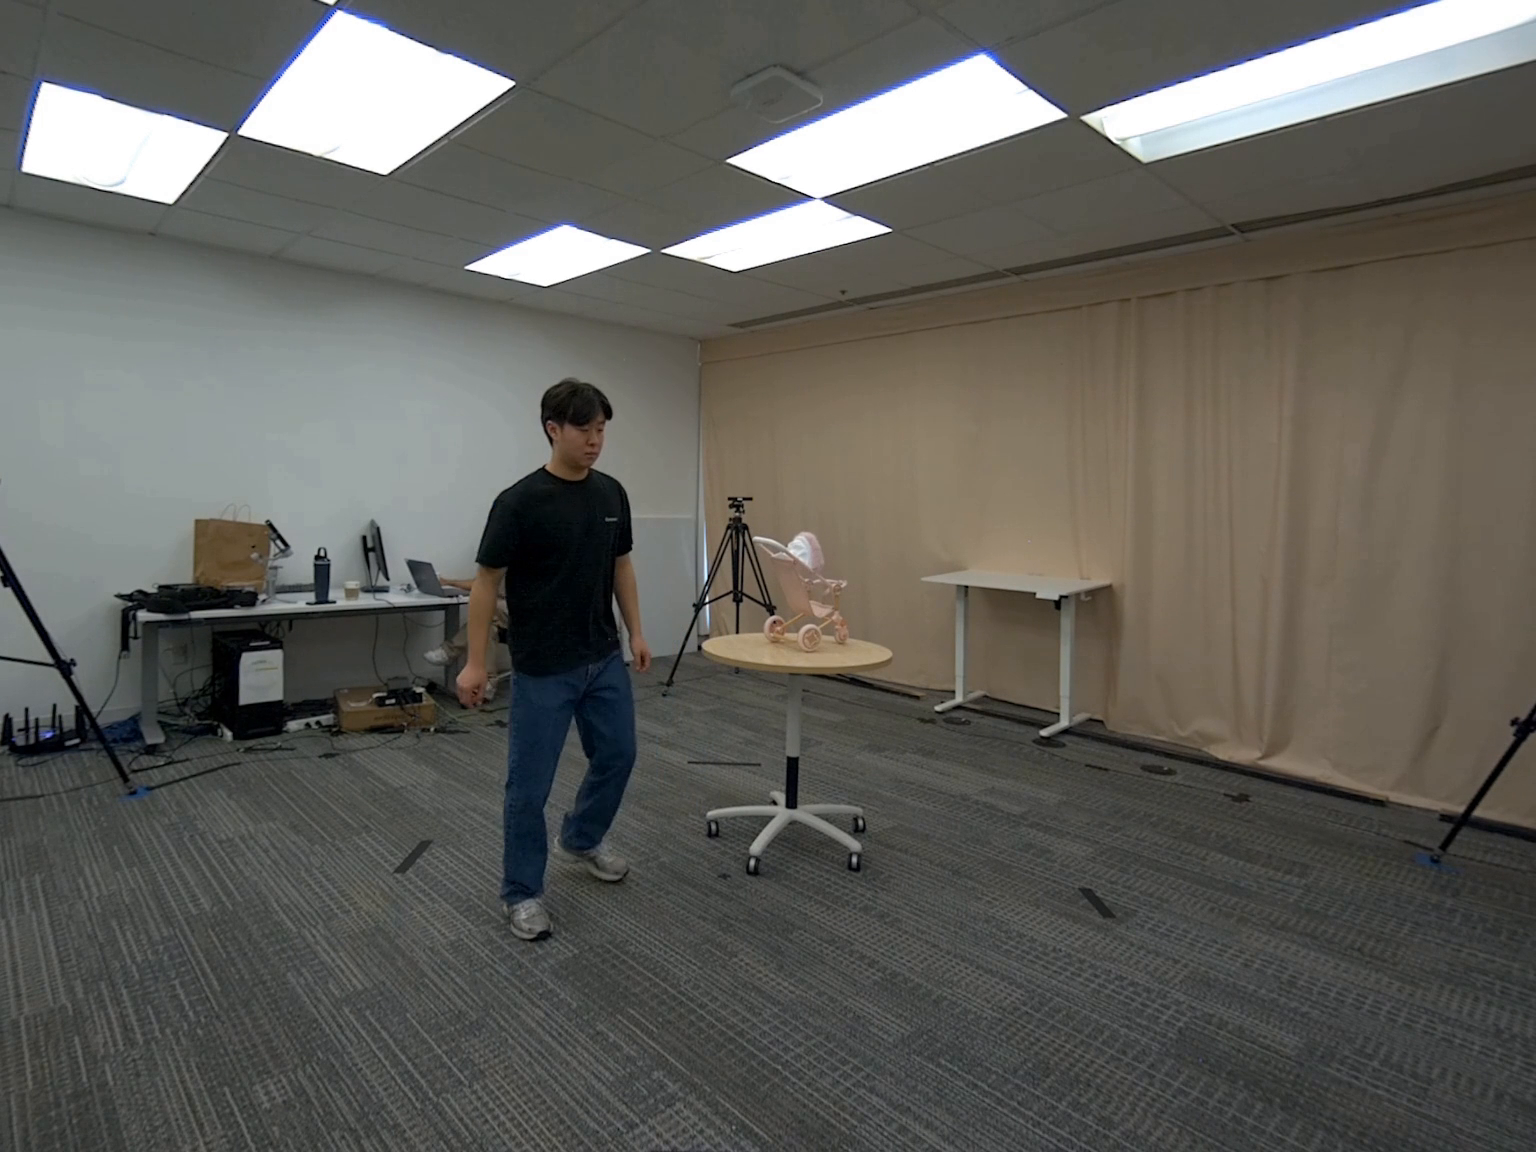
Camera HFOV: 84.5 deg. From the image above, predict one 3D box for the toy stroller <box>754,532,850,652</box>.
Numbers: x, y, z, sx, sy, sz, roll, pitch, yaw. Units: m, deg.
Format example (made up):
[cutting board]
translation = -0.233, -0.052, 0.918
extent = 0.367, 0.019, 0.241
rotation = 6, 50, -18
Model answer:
[toy stroller]
translation = 0.155, 0.064, 3.441
extent = 0.337, 0.530, 0.287
rotation = -16, 11, -25
